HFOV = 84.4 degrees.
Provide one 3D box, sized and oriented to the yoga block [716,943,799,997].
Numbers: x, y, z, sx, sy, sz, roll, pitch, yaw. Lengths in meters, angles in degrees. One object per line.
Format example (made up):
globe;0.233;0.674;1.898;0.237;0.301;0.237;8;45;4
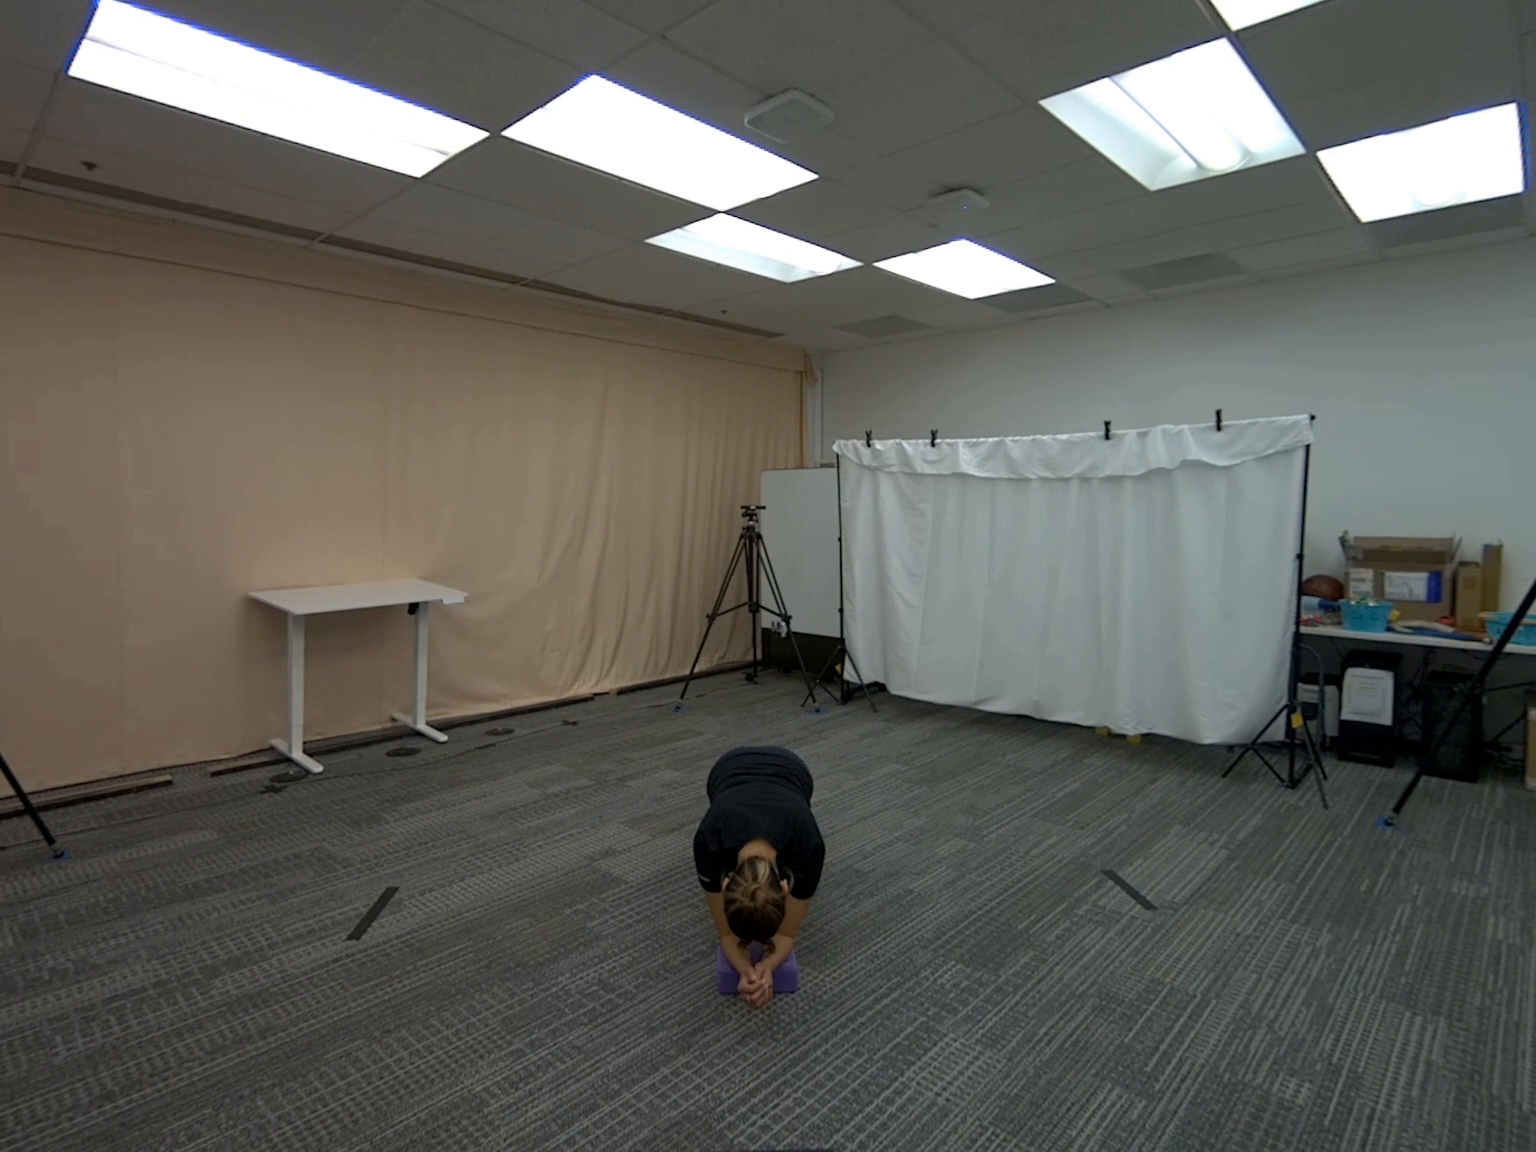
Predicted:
yoga block;-0.030;1.142;2.470;0.229;0.076;0.149;0;5;-1
